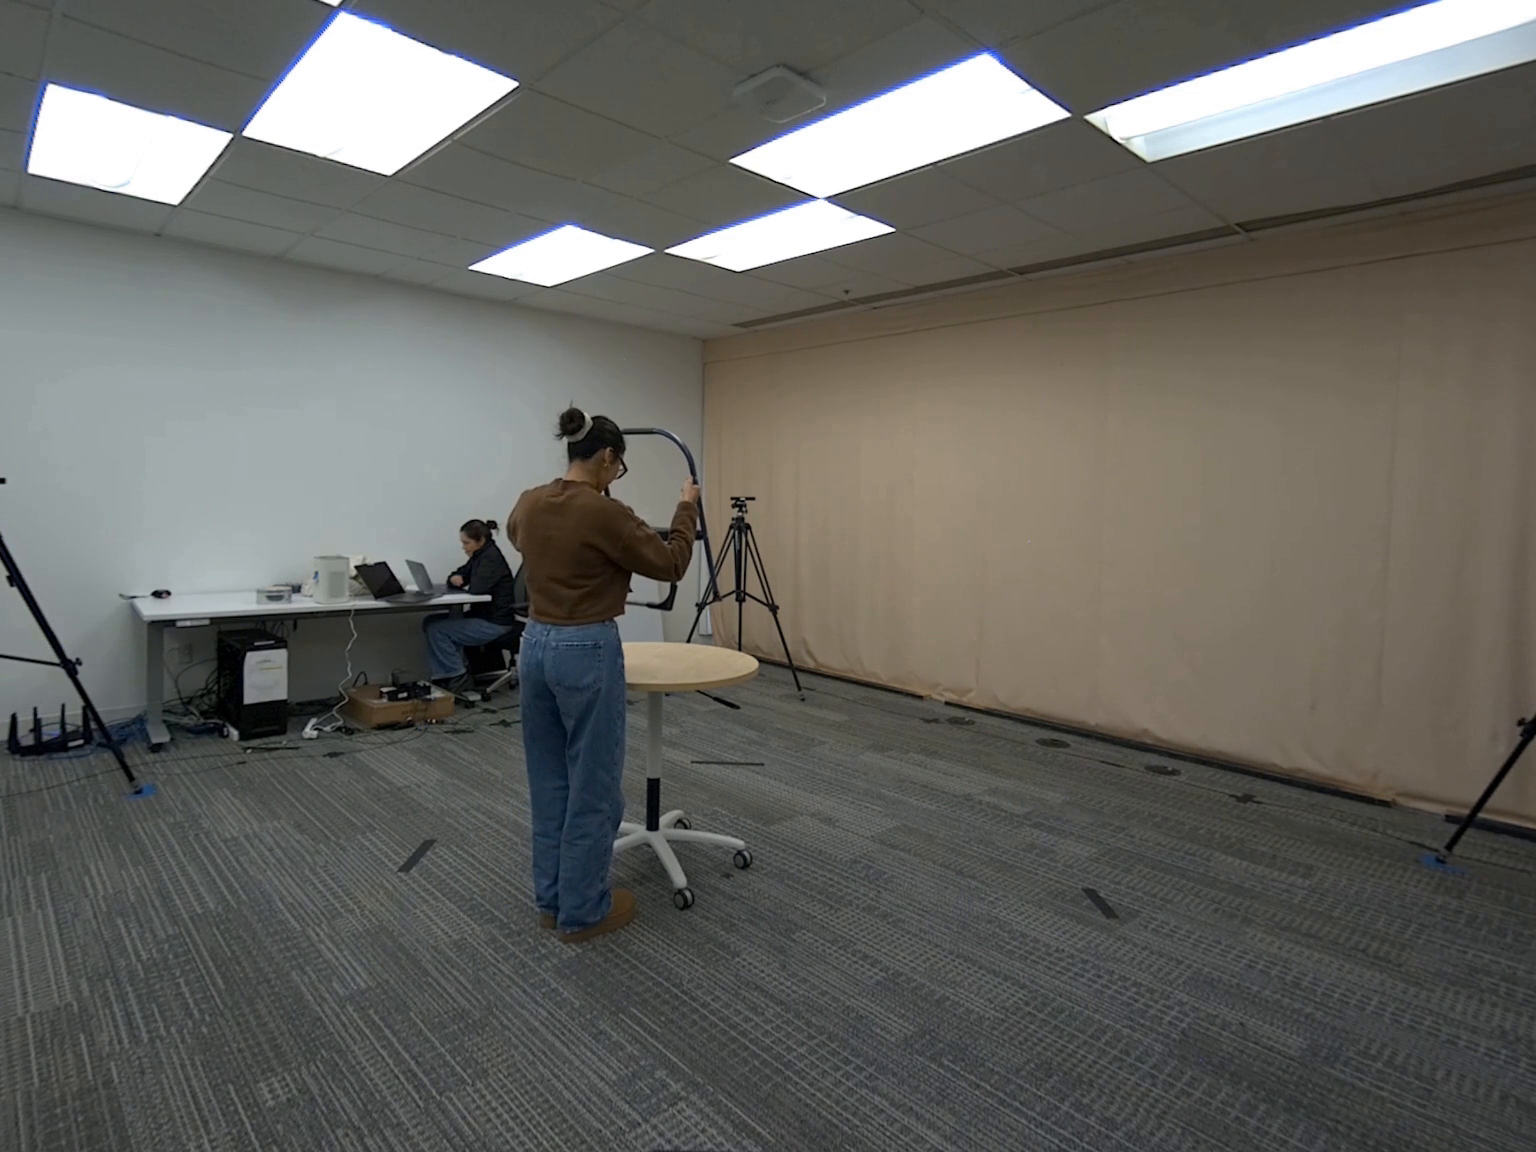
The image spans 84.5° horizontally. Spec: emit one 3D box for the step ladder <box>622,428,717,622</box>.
[{"bbox_3d":[-0.436,-0.213,2.965,0.439,0.604,0.343,4,6,27],"label":"step ladder"}]
